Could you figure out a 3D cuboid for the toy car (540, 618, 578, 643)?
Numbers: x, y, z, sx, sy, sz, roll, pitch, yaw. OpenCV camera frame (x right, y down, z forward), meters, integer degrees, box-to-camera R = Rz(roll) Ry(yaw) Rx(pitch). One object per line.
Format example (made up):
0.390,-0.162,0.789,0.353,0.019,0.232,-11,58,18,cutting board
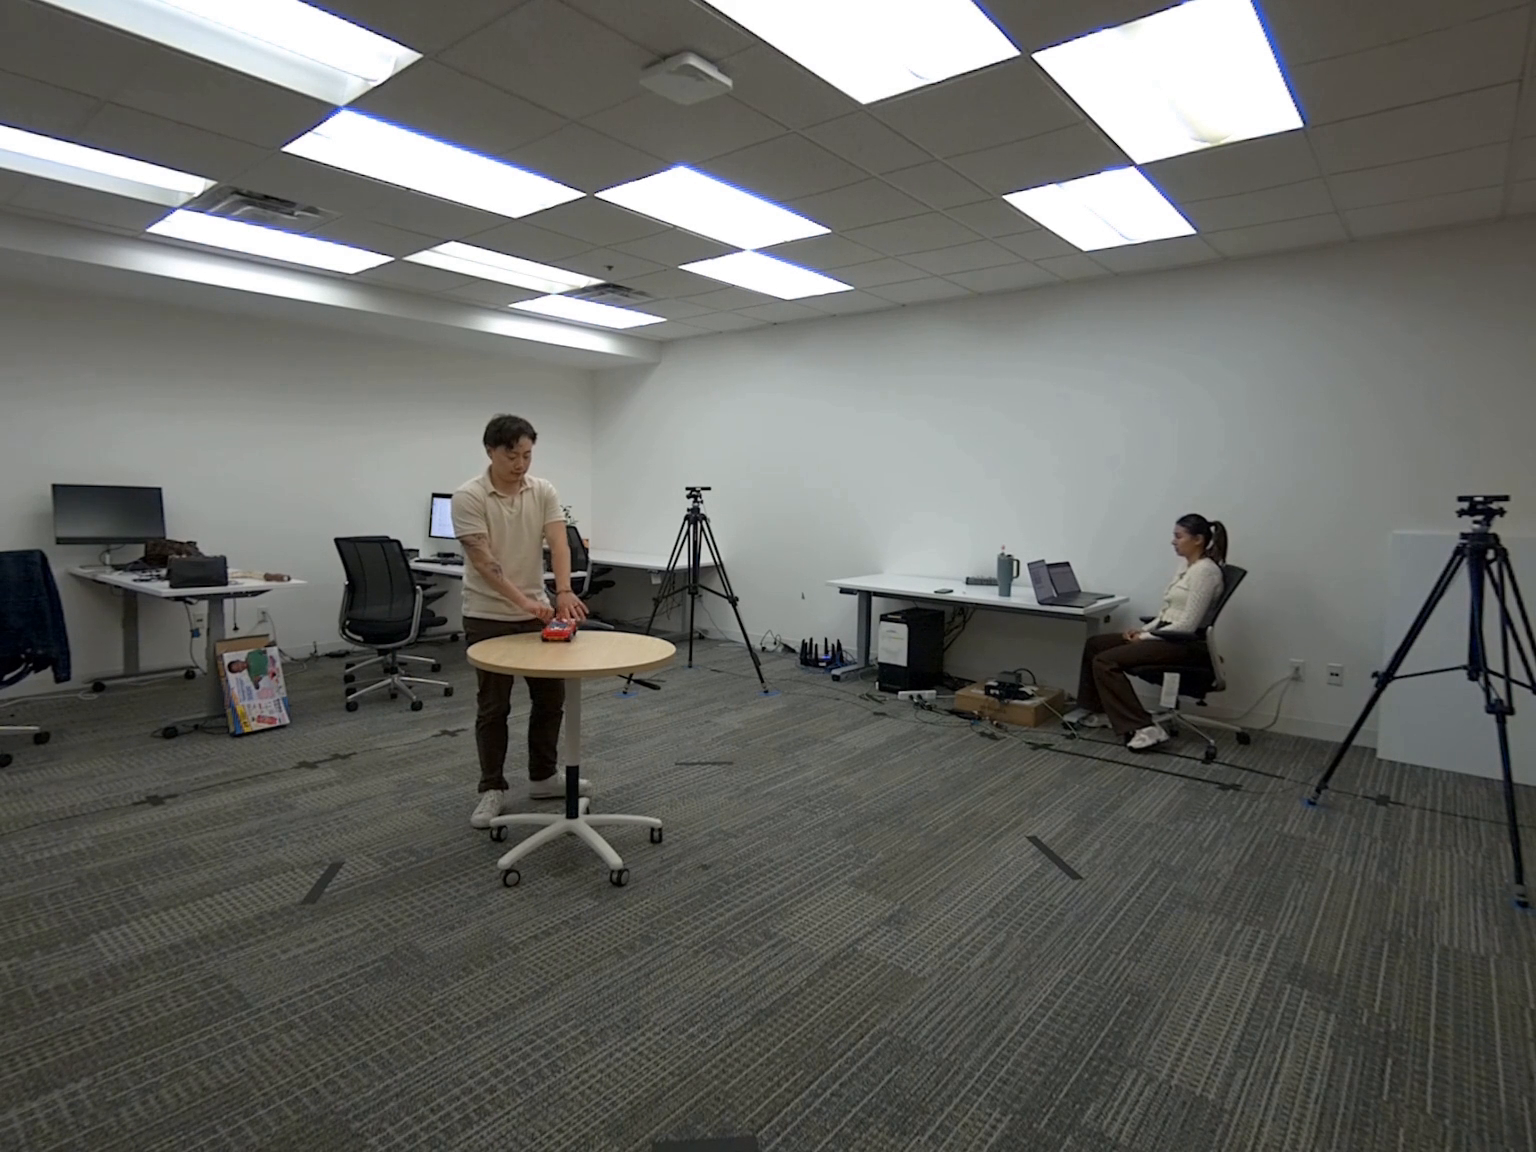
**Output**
-0.847,0.213,3.398,0.130,0.082,0.259,0,16,-5,toy car
